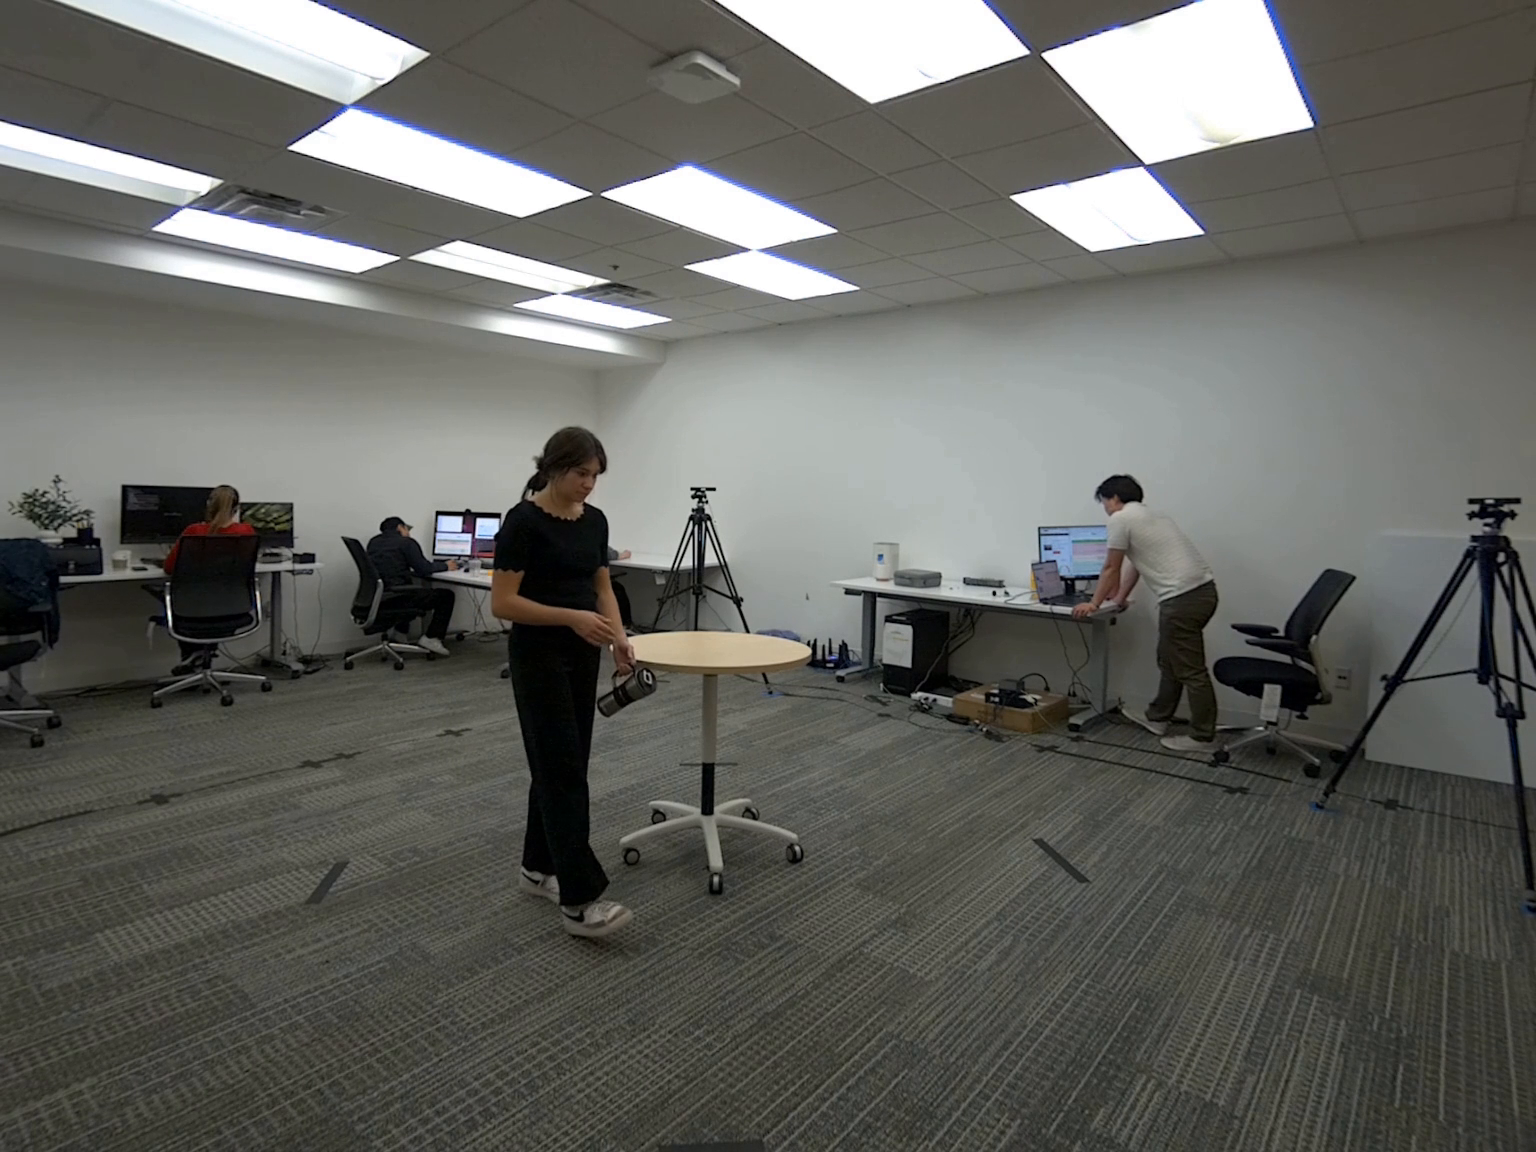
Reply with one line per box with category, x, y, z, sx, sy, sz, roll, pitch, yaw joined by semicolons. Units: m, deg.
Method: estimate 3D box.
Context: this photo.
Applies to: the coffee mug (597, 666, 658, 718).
coffee mug;-0.492;0.364;2.761;0.204;0.121;0.088;-32;6;22
